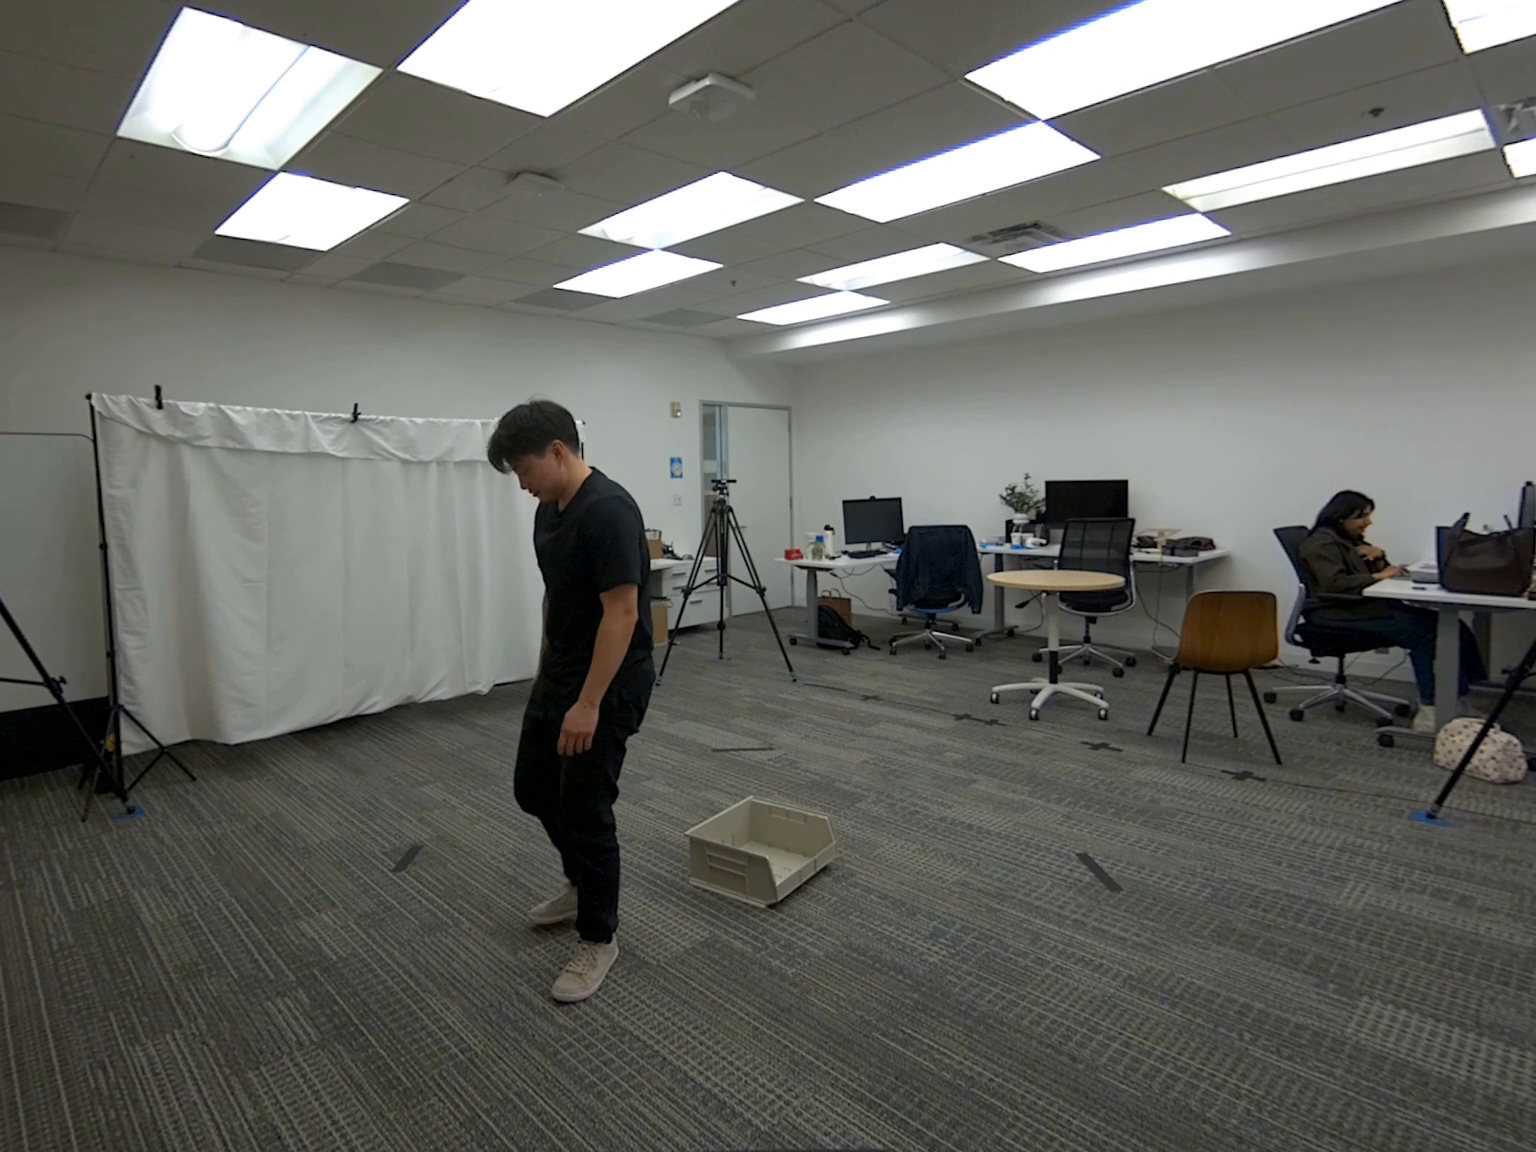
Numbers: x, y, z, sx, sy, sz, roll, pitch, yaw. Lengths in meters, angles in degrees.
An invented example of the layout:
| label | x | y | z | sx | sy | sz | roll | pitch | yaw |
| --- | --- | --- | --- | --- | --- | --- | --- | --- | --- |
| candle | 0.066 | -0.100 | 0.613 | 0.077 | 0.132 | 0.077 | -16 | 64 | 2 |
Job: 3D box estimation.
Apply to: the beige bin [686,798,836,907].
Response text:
| label | x | y | z | sx | sy | sz | roll | pitch | yaw |
| --- | --- | --- | --- | --- | --- | --- | --- | --- | --- |
| beige bin | -0.015 | 0.969 | 3.022 | 0.388 | 0.188 | 0.412 | 2 | 7 | 34 |
